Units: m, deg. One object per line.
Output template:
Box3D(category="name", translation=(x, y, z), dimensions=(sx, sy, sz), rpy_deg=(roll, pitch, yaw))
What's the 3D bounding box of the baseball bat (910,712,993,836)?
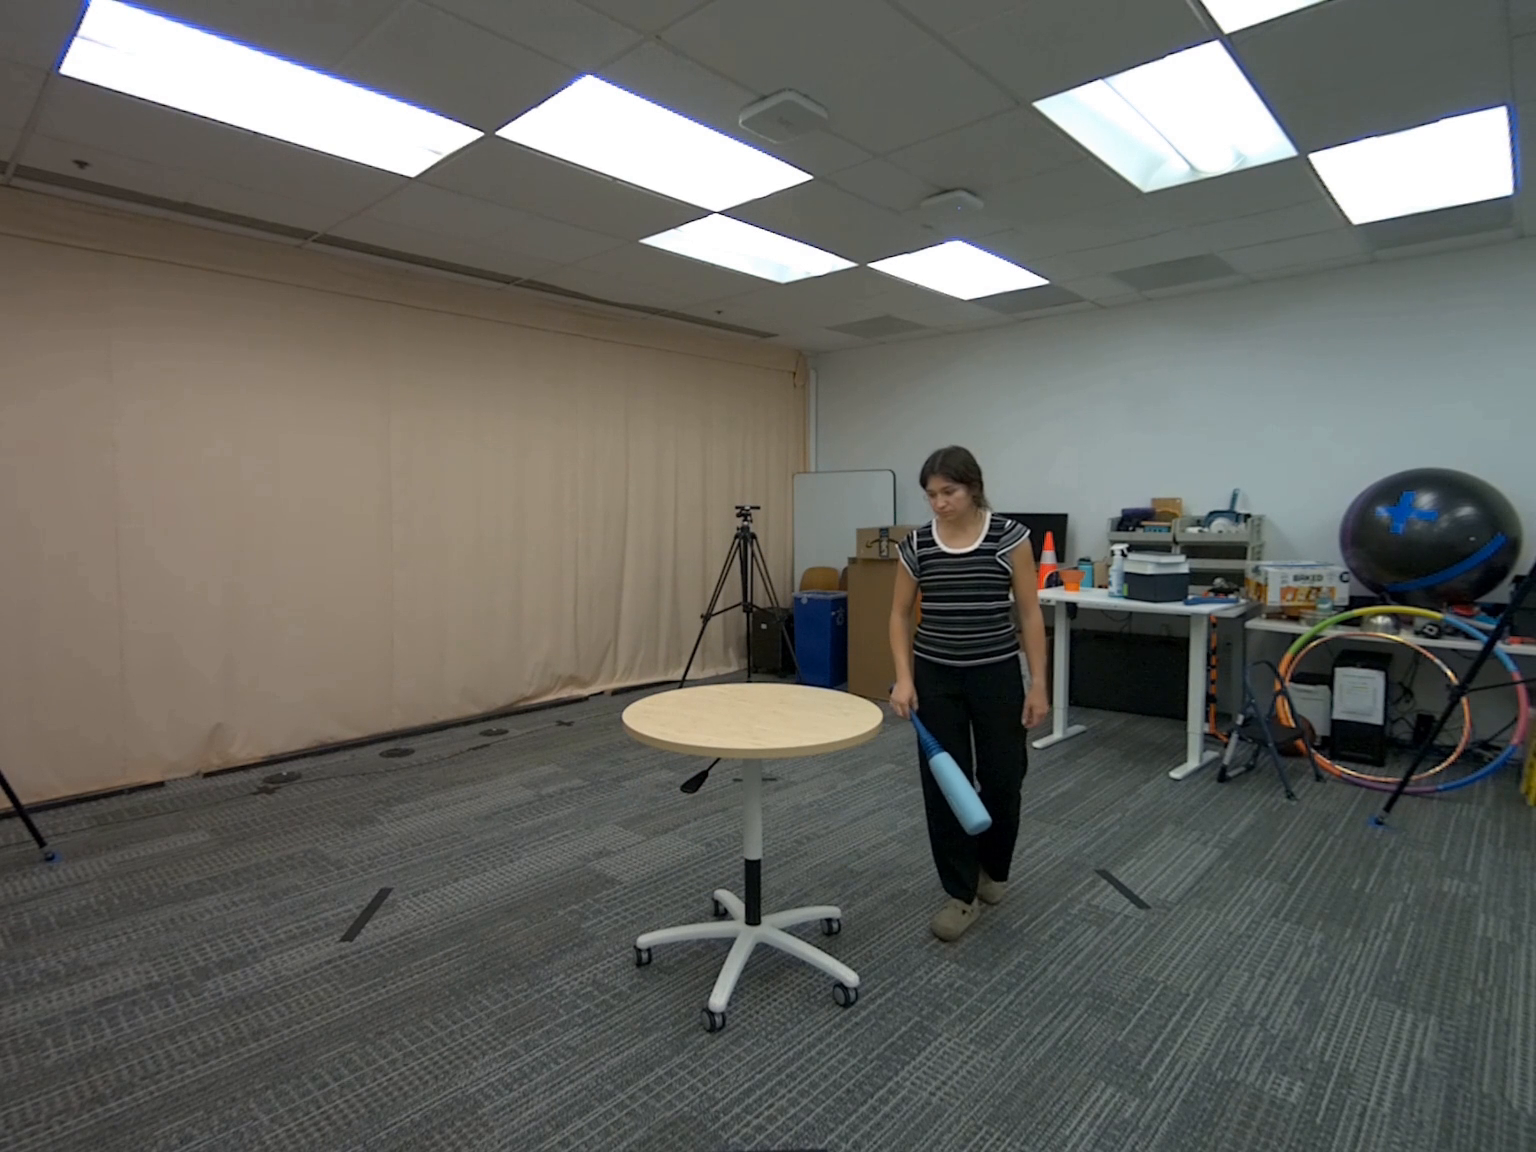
Box3D(category="baseball bat", translation=(0.547, 0.553, 2.678), dimensions=(0.087, 0.088, 0.560), rpy_deg=(-2, 44, -27))
